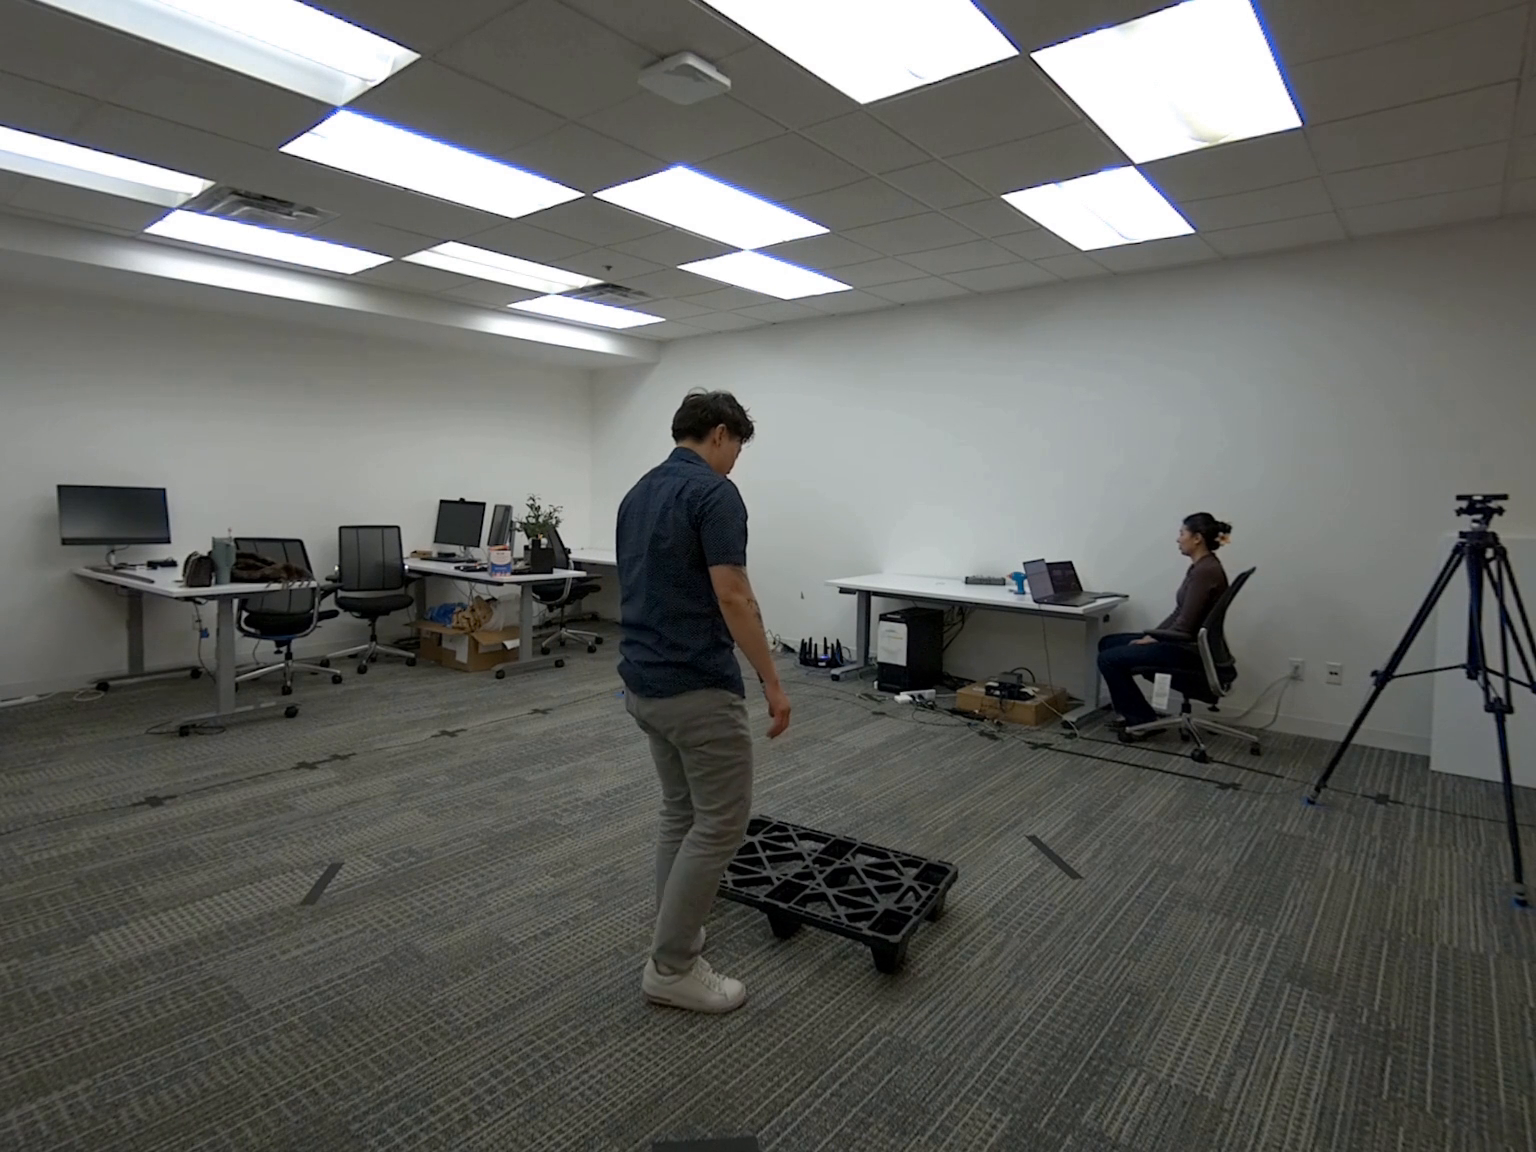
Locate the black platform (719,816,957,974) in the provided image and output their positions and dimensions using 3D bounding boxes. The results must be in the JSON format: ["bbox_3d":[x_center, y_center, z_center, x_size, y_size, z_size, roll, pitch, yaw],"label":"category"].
[{"bbox_3d":[0.150,1.034,2.825,0.830,0.143,0.590,4,7,31],"label":"black platform"}]
